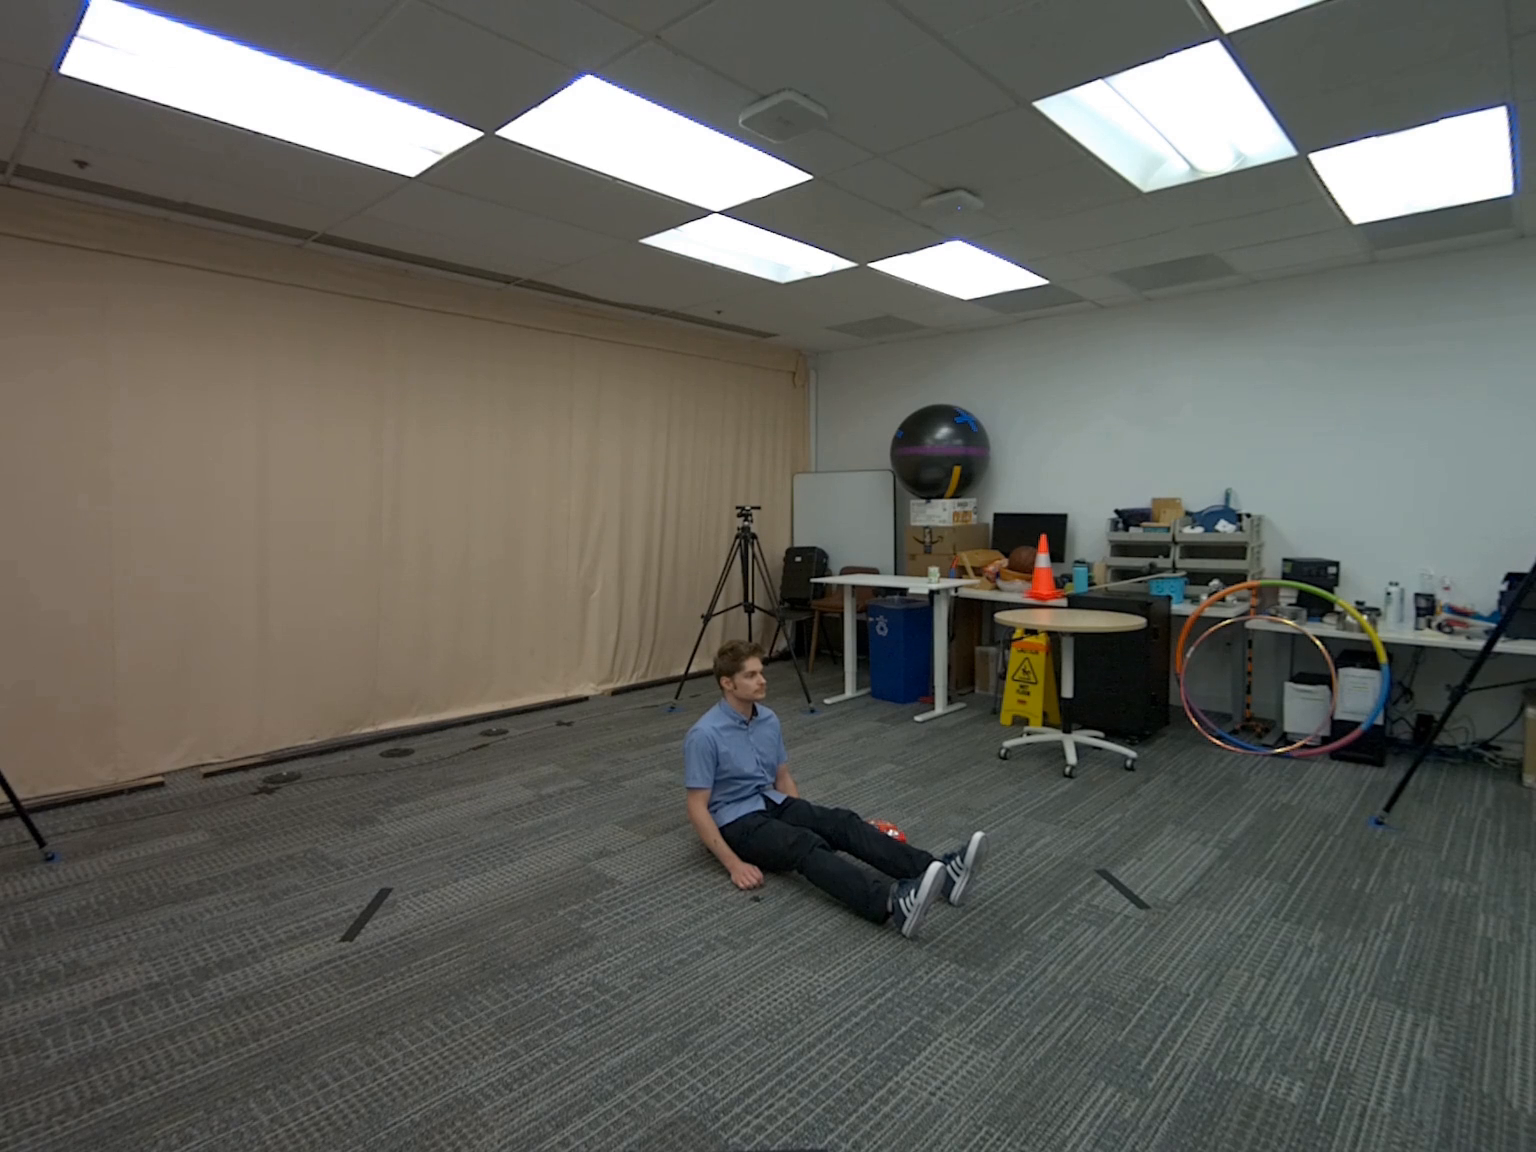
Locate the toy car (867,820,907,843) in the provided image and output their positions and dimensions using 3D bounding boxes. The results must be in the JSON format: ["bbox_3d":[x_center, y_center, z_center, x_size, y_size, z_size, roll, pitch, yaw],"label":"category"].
[{"bbox_3d":[0.494,1.074,3.502,0.128,0.083,0.258,2,-6,-18],"label":"toy car"}]
